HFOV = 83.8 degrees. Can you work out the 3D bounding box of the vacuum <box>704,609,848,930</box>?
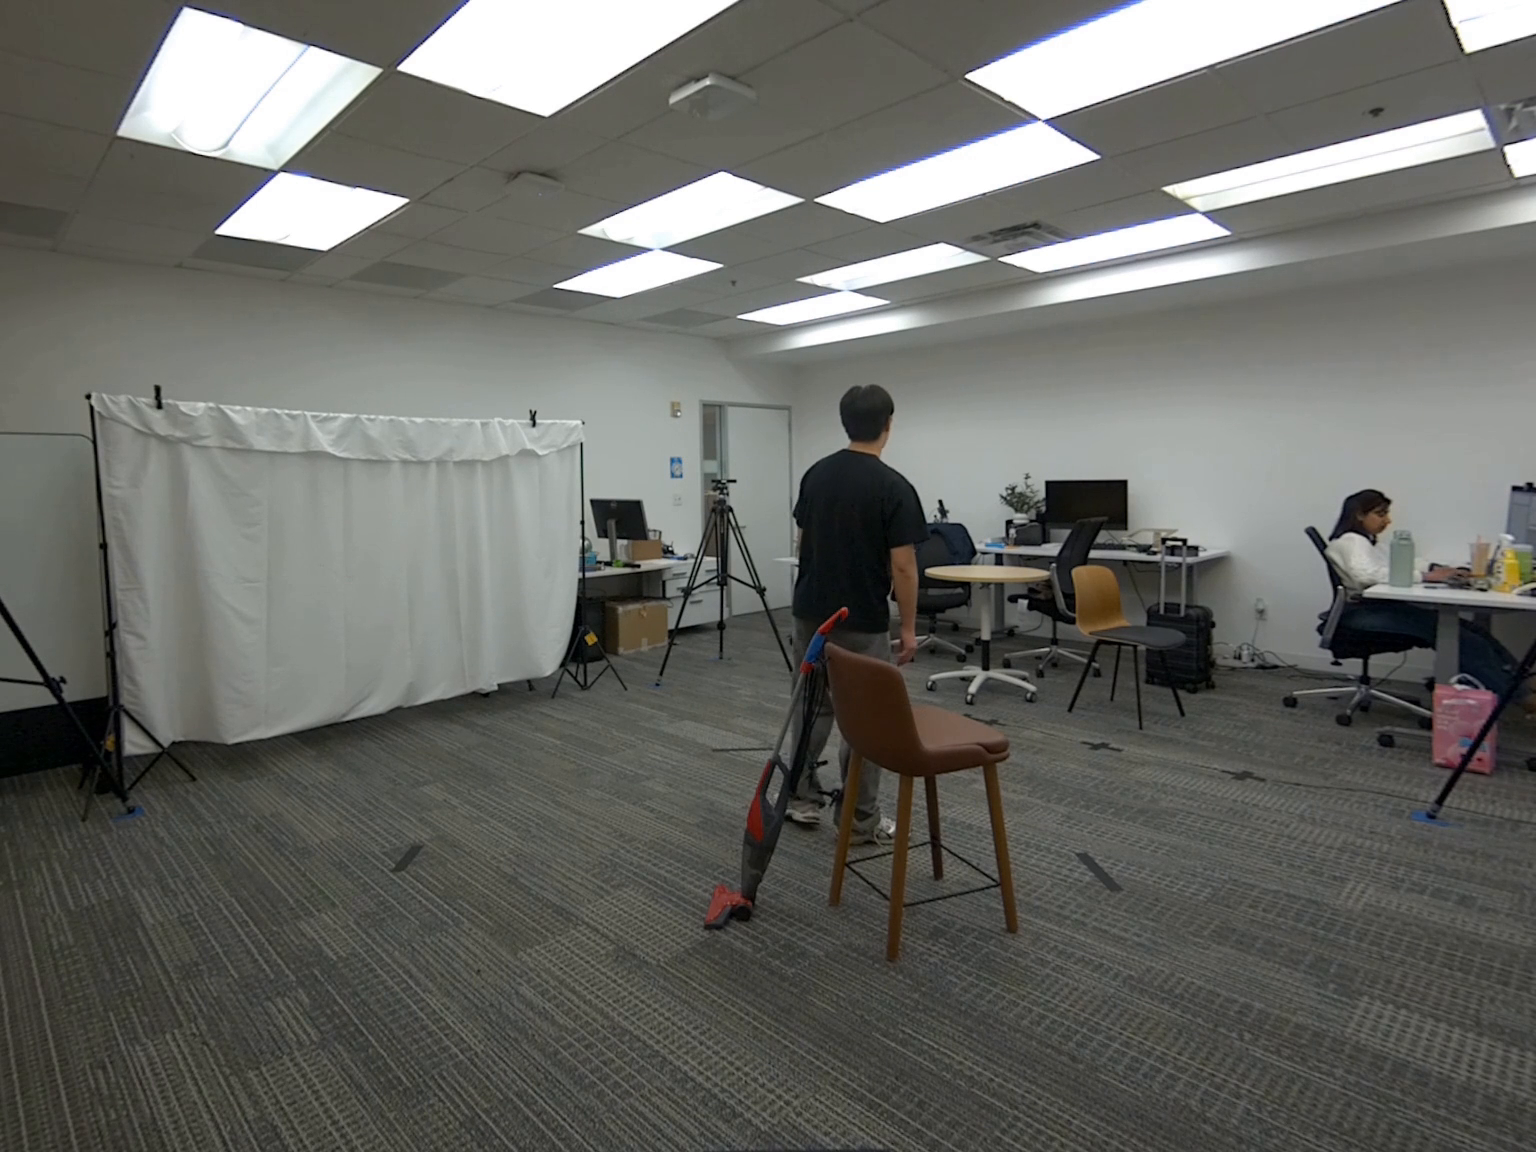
[{"bbox_3d":[0.061,0.596,2.712,0.144,1.045,0.253,19,6,-1],"label":"vacuum"}]
